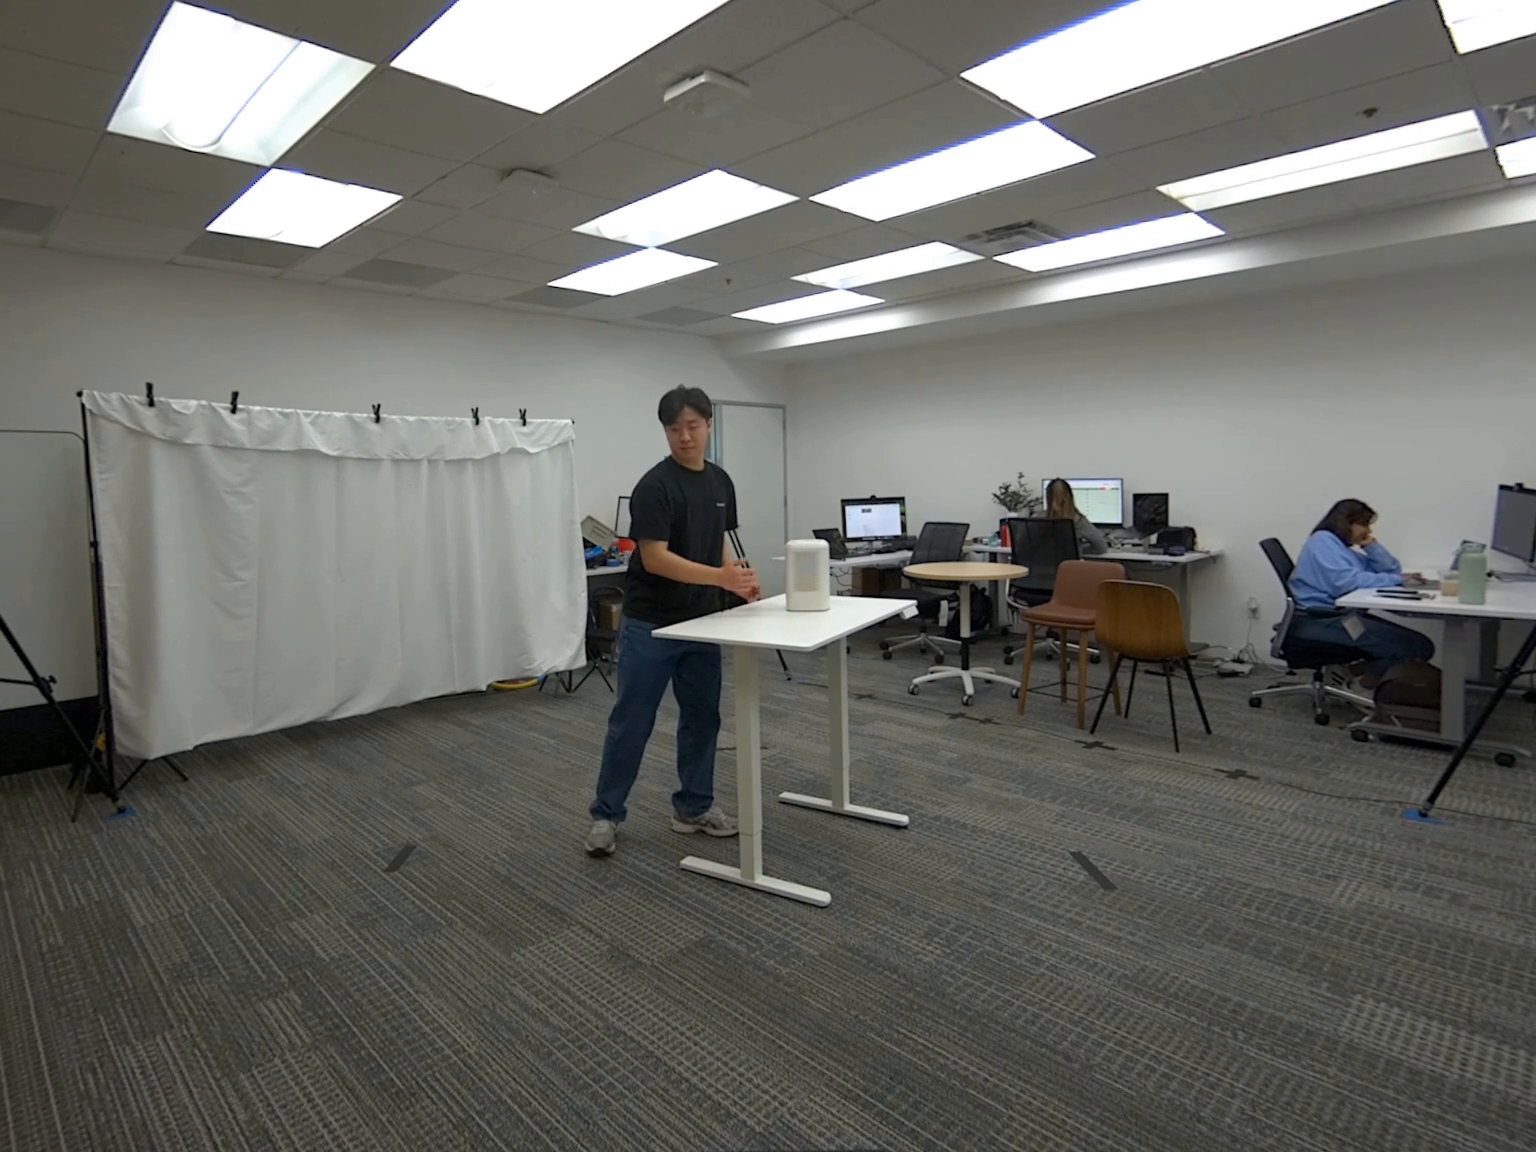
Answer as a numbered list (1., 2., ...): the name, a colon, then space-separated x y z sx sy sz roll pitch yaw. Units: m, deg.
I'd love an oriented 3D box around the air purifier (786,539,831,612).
1. air purifier: 0.146 -0.003 3.329 0.173 0.264 0.170 -2 4 7
